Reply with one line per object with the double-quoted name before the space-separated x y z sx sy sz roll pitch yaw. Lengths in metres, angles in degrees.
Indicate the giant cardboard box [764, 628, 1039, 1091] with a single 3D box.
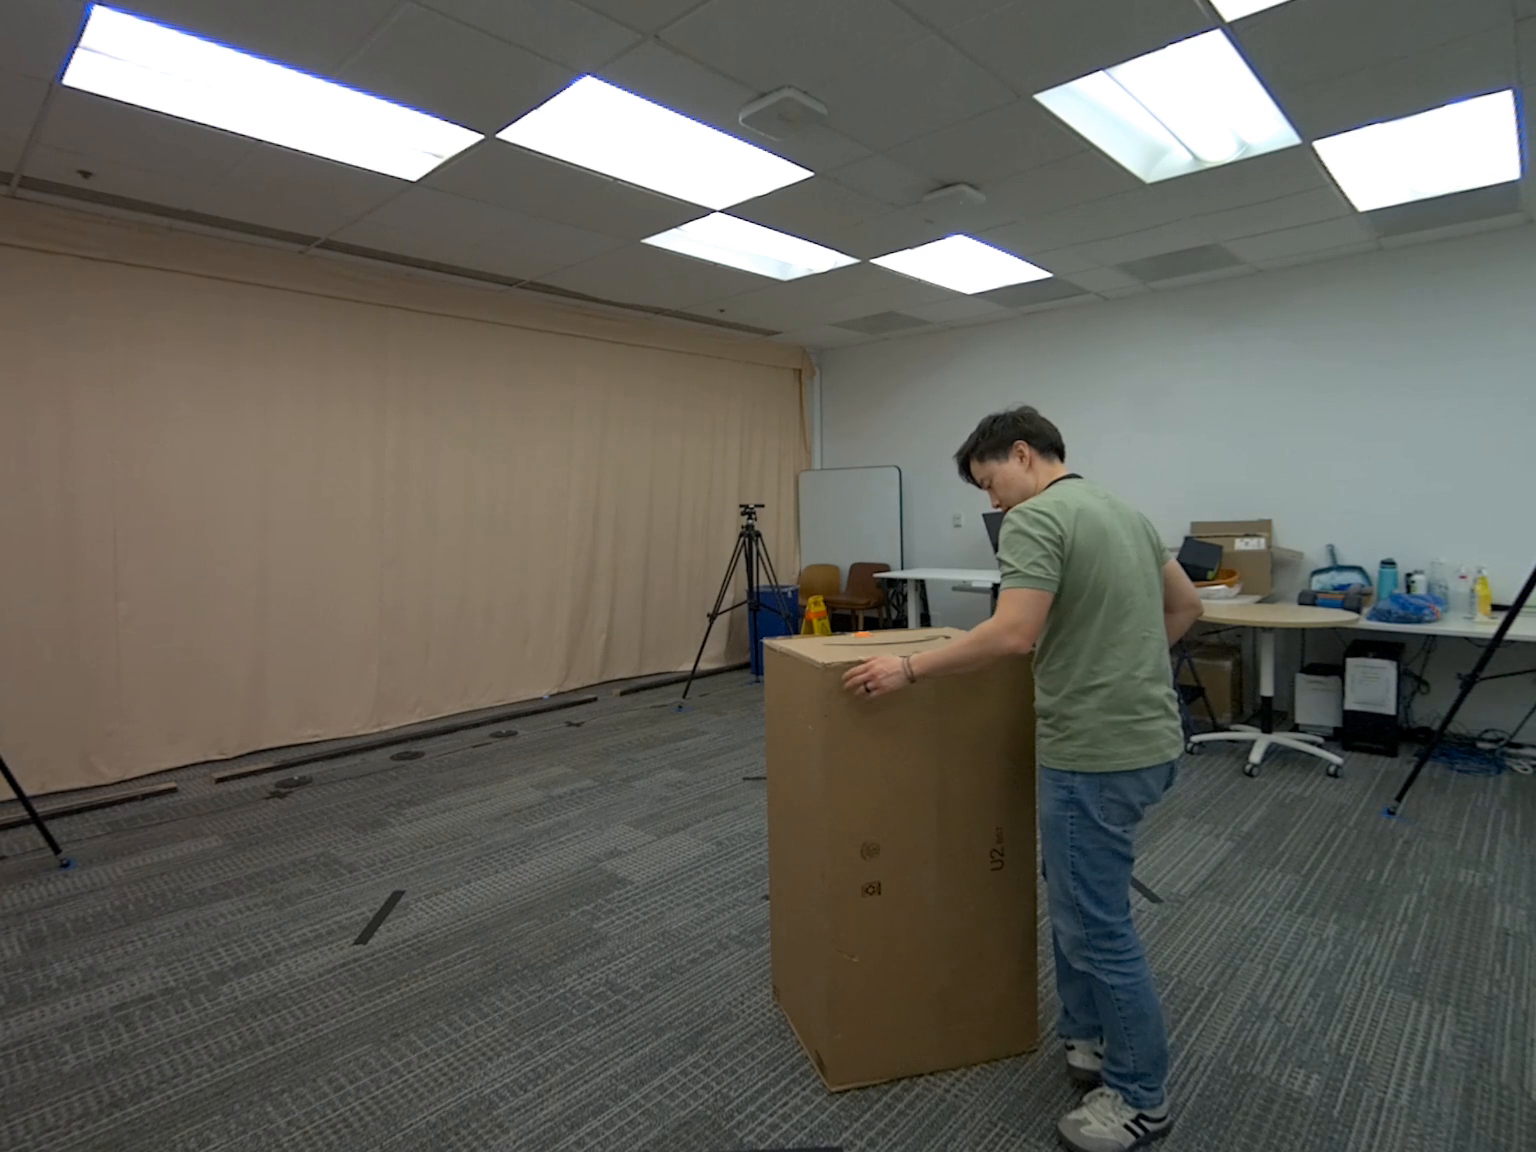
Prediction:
"giant cardboard box" 0.341 0.688 2.233 0.568 1.023 0.434 -2 3 -17
